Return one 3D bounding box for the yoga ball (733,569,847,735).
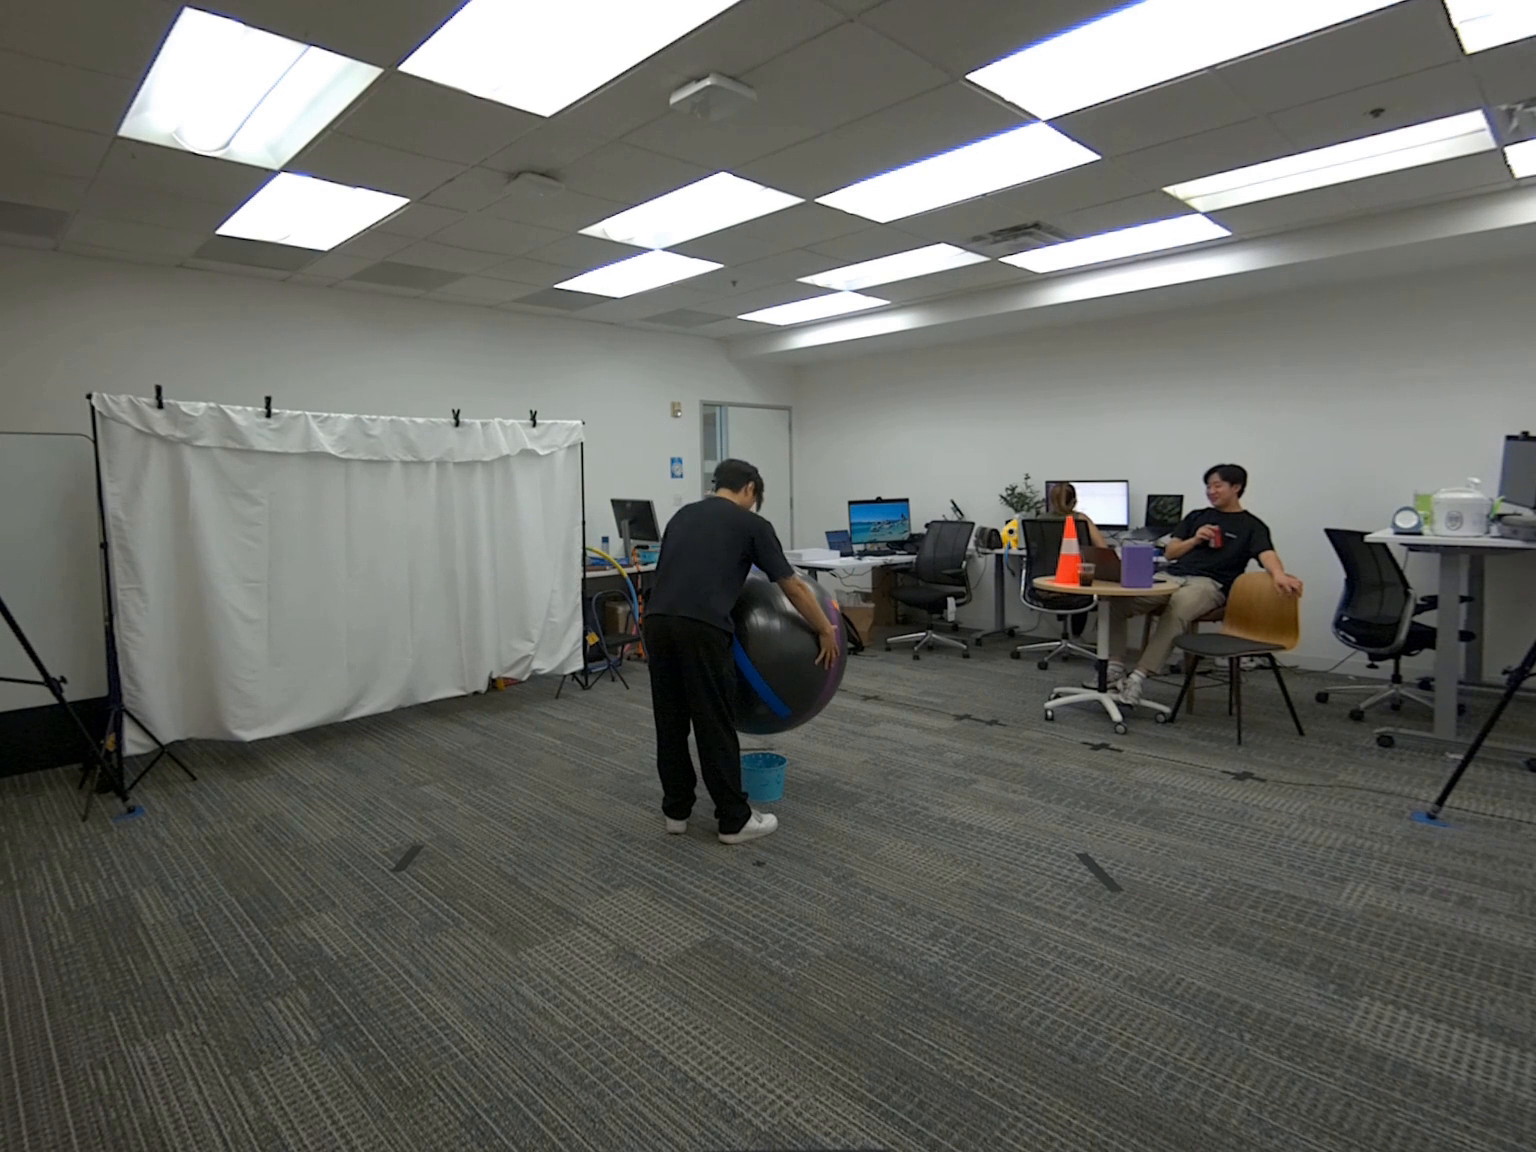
[{"bbox_3d":[-0.025,0.313,3.806,0.757,0.755,0.762,-1,5,-2],"label":"yoga ball"}]
